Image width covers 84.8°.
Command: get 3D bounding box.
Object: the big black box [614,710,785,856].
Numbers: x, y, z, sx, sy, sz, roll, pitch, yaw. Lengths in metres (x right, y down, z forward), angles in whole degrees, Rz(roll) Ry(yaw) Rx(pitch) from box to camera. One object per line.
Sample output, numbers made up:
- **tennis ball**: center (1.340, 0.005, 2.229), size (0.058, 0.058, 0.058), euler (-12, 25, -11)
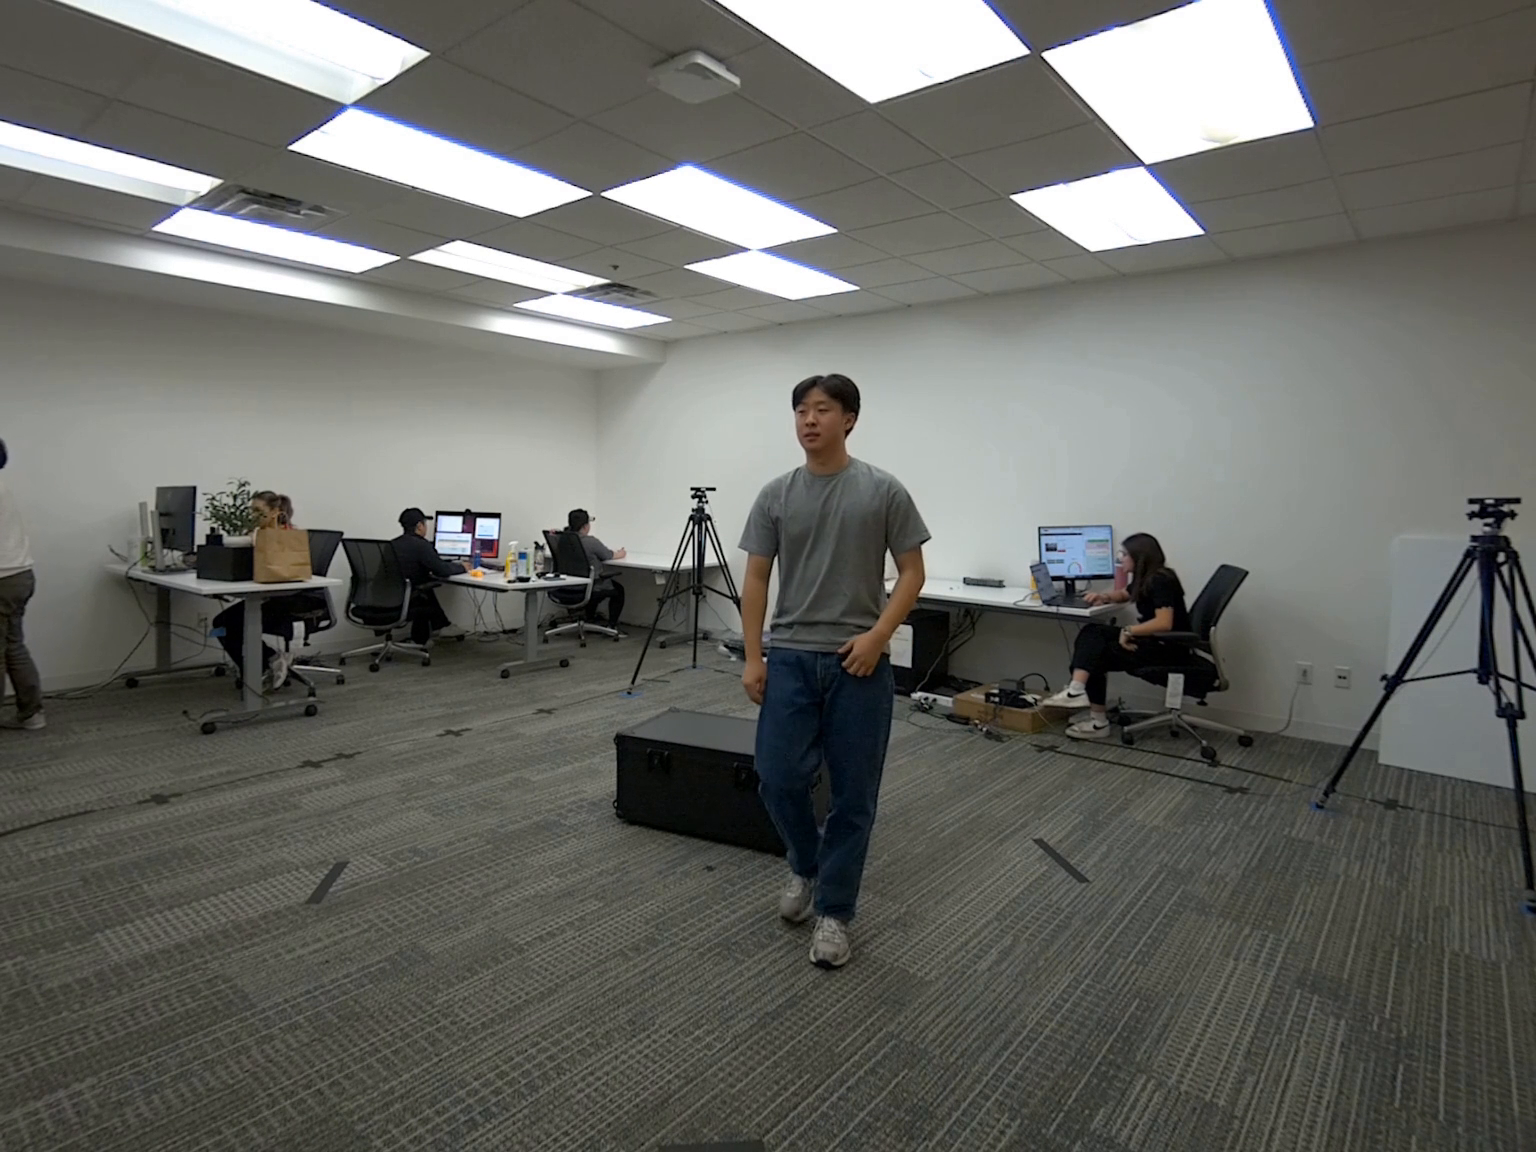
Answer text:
- **big black box**: center (-0.217, 0.830, 3.573), size (0.883, 0.394, 0.511), euler (4, 6, 24)
